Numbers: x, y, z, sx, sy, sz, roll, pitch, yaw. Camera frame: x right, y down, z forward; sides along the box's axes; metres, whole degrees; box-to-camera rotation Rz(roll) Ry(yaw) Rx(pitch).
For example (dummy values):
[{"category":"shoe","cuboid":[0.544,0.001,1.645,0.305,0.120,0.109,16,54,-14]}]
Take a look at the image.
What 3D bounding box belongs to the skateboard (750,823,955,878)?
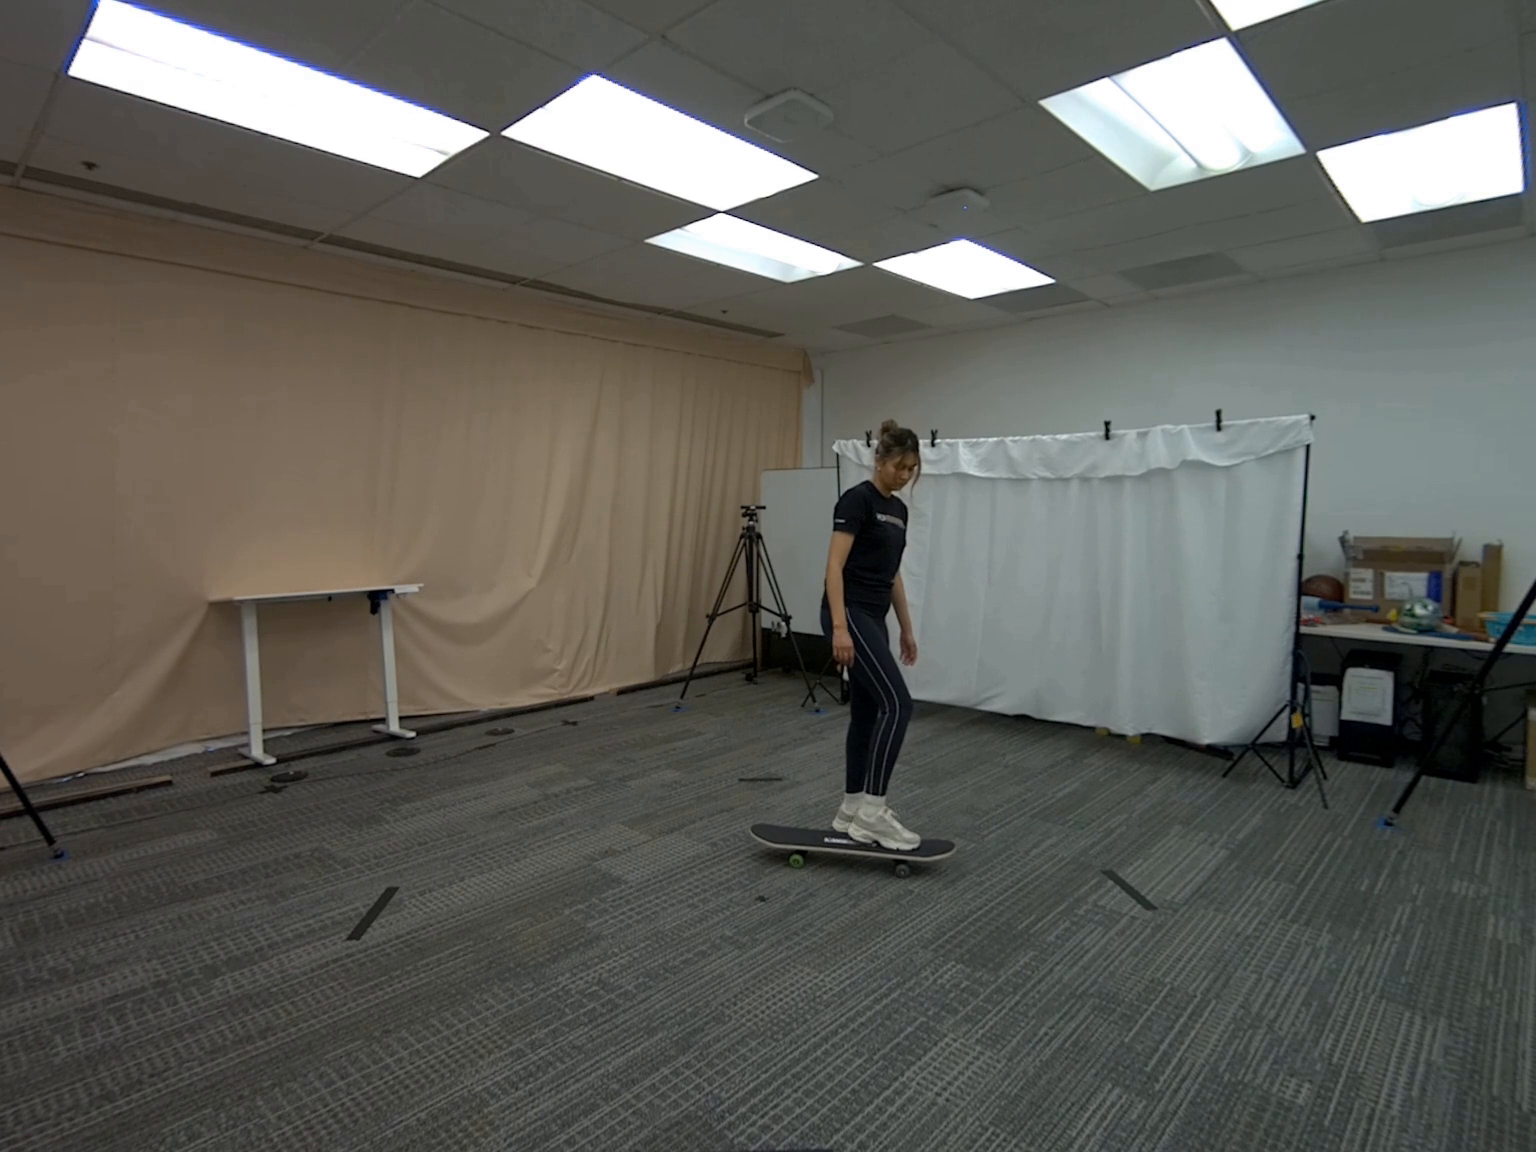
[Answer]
[{"category":"skateboard","cuboid":[0.318,1.060,3.267,0.795,0.110,0.191,1,3,11]}]
